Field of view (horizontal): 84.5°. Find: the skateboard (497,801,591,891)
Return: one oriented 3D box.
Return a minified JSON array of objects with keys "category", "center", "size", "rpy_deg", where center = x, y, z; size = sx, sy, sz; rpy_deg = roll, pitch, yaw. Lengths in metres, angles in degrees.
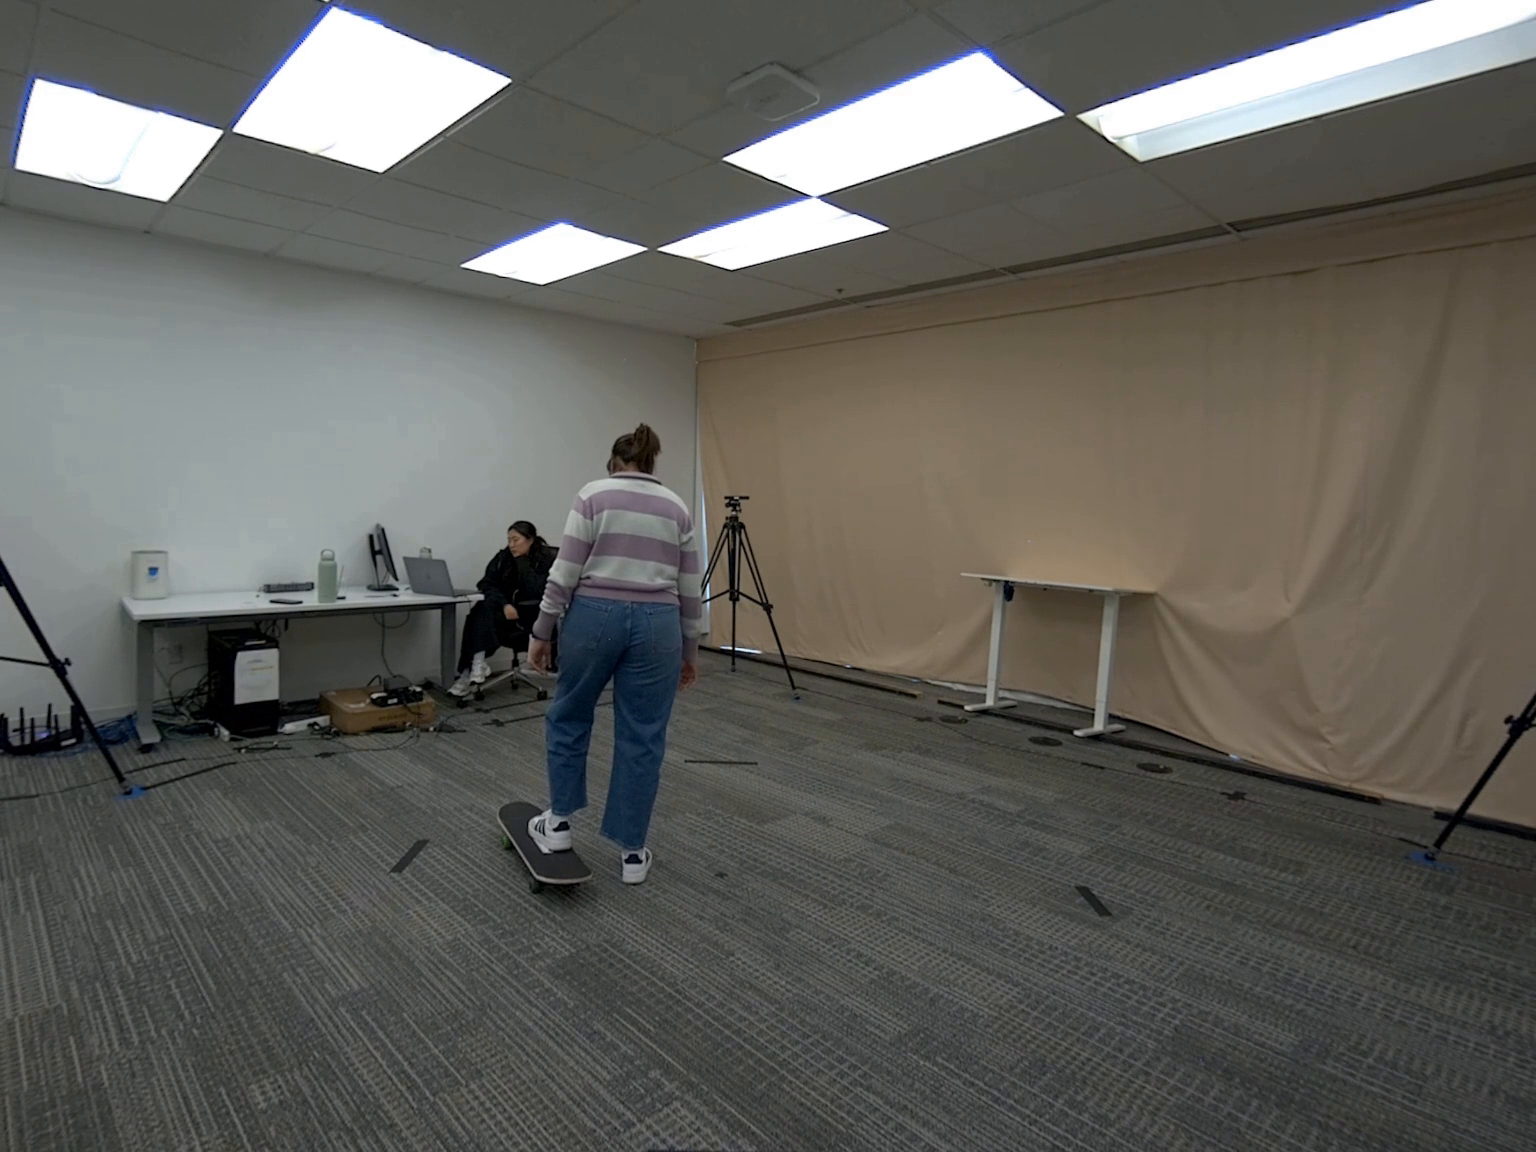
[{"category":"skateboard","center":[-0.861,1.028,3.156],"size":[0.189,0.110,0.803],"rpy_deg":[3,4,-28]}]
